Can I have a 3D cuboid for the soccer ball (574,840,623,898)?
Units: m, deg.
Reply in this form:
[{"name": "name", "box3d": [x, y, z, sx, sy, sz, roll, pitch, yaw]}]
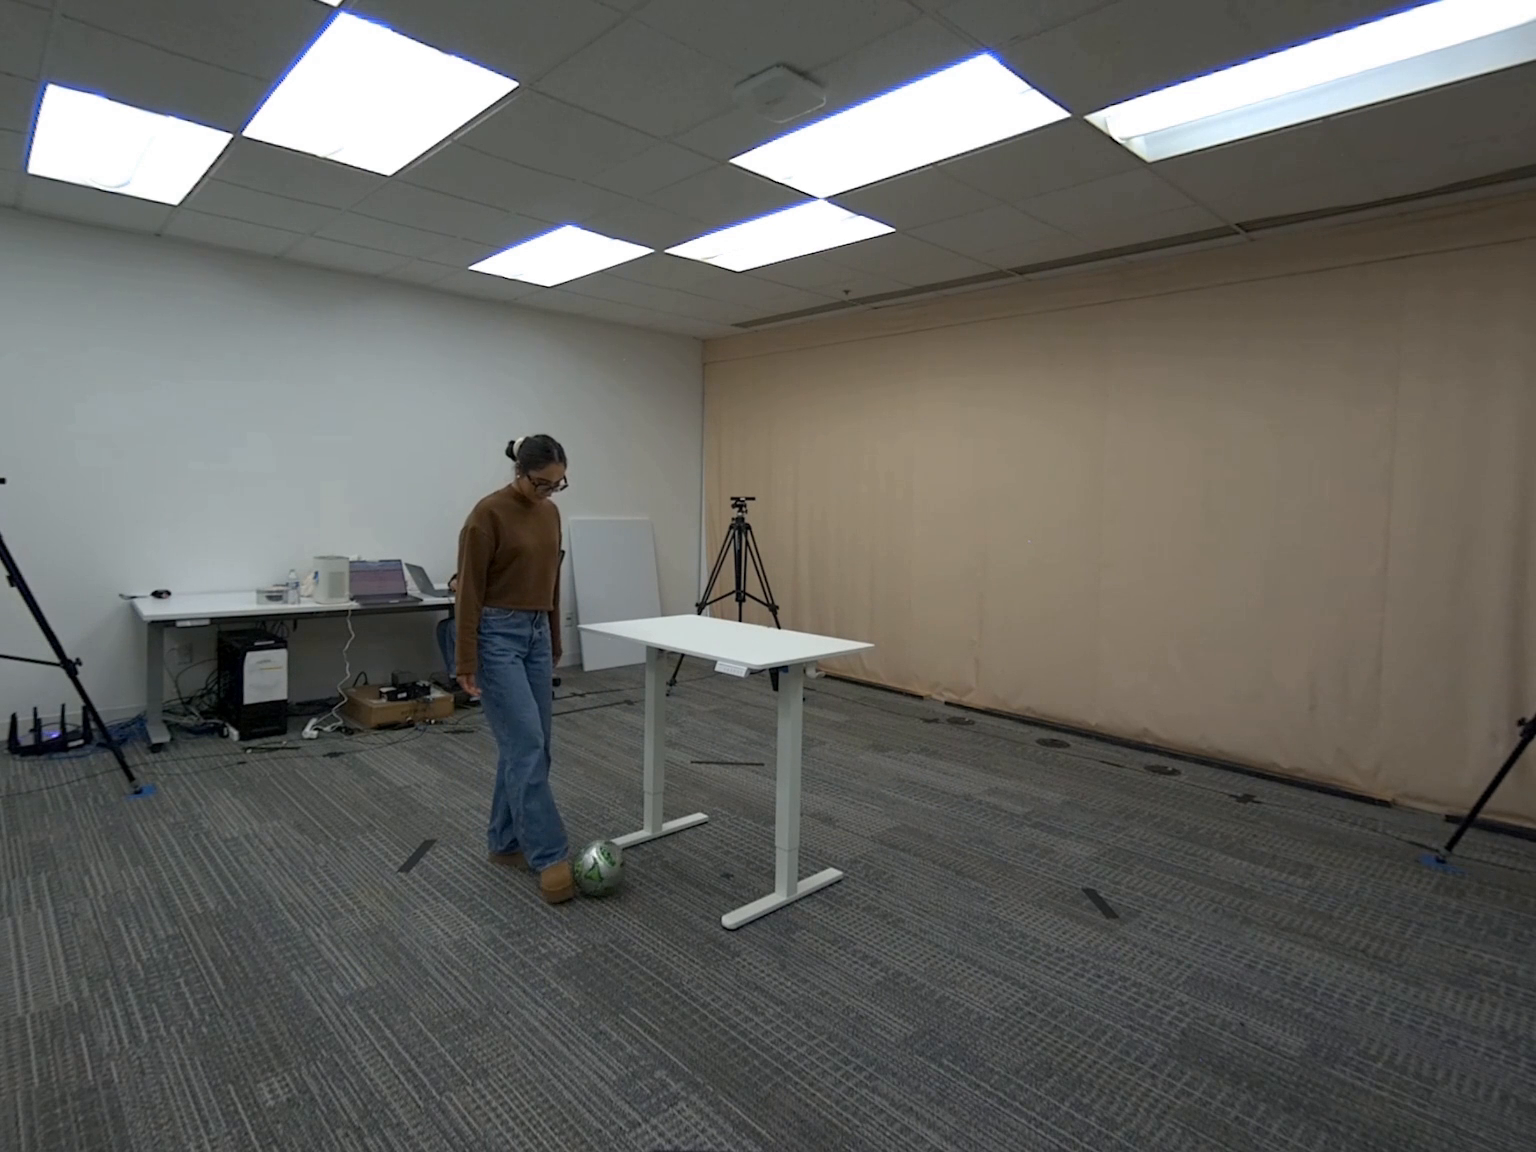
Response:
[{"name": "soccer ball", "box3d": [-0.594, 1.021, 2.928, 0.187, 0.187, 0.188, 1, 4, -1]}]
